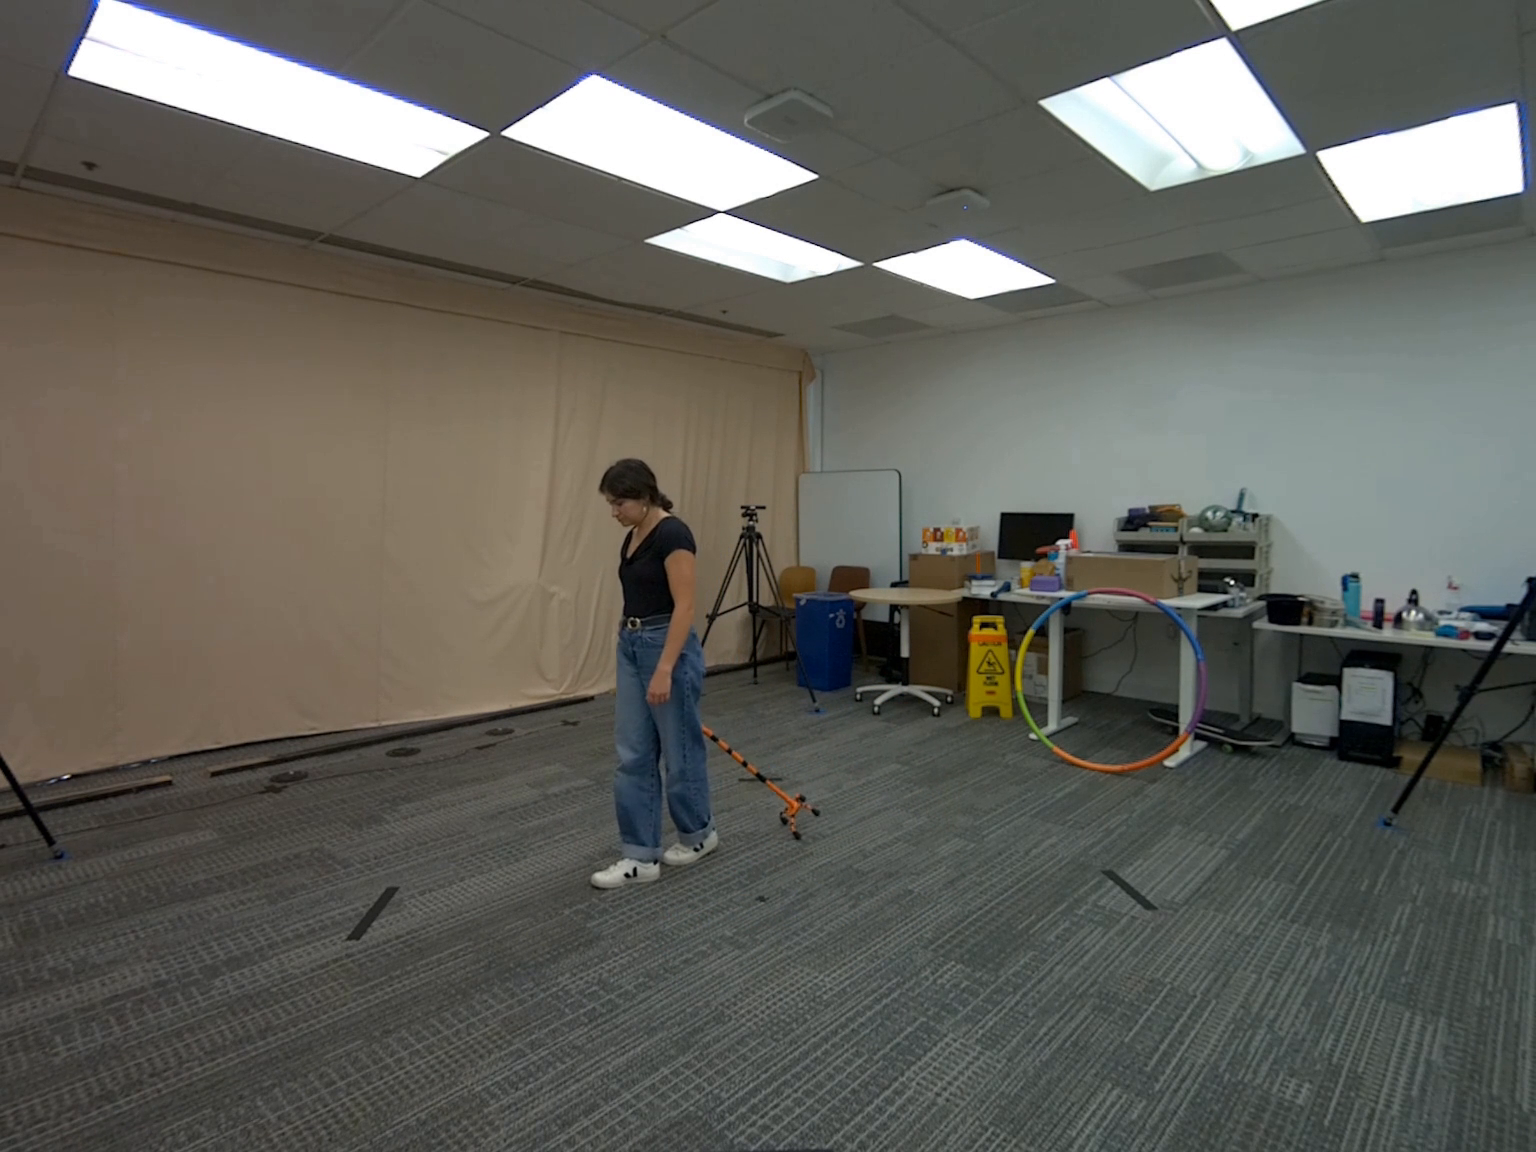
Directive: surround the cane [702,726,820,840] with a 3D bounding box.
[{"bbox_3d":[-0.170,0.741,3.522,0.897,0.151,0.209,43,-7,-10],"label":"cane"}]
